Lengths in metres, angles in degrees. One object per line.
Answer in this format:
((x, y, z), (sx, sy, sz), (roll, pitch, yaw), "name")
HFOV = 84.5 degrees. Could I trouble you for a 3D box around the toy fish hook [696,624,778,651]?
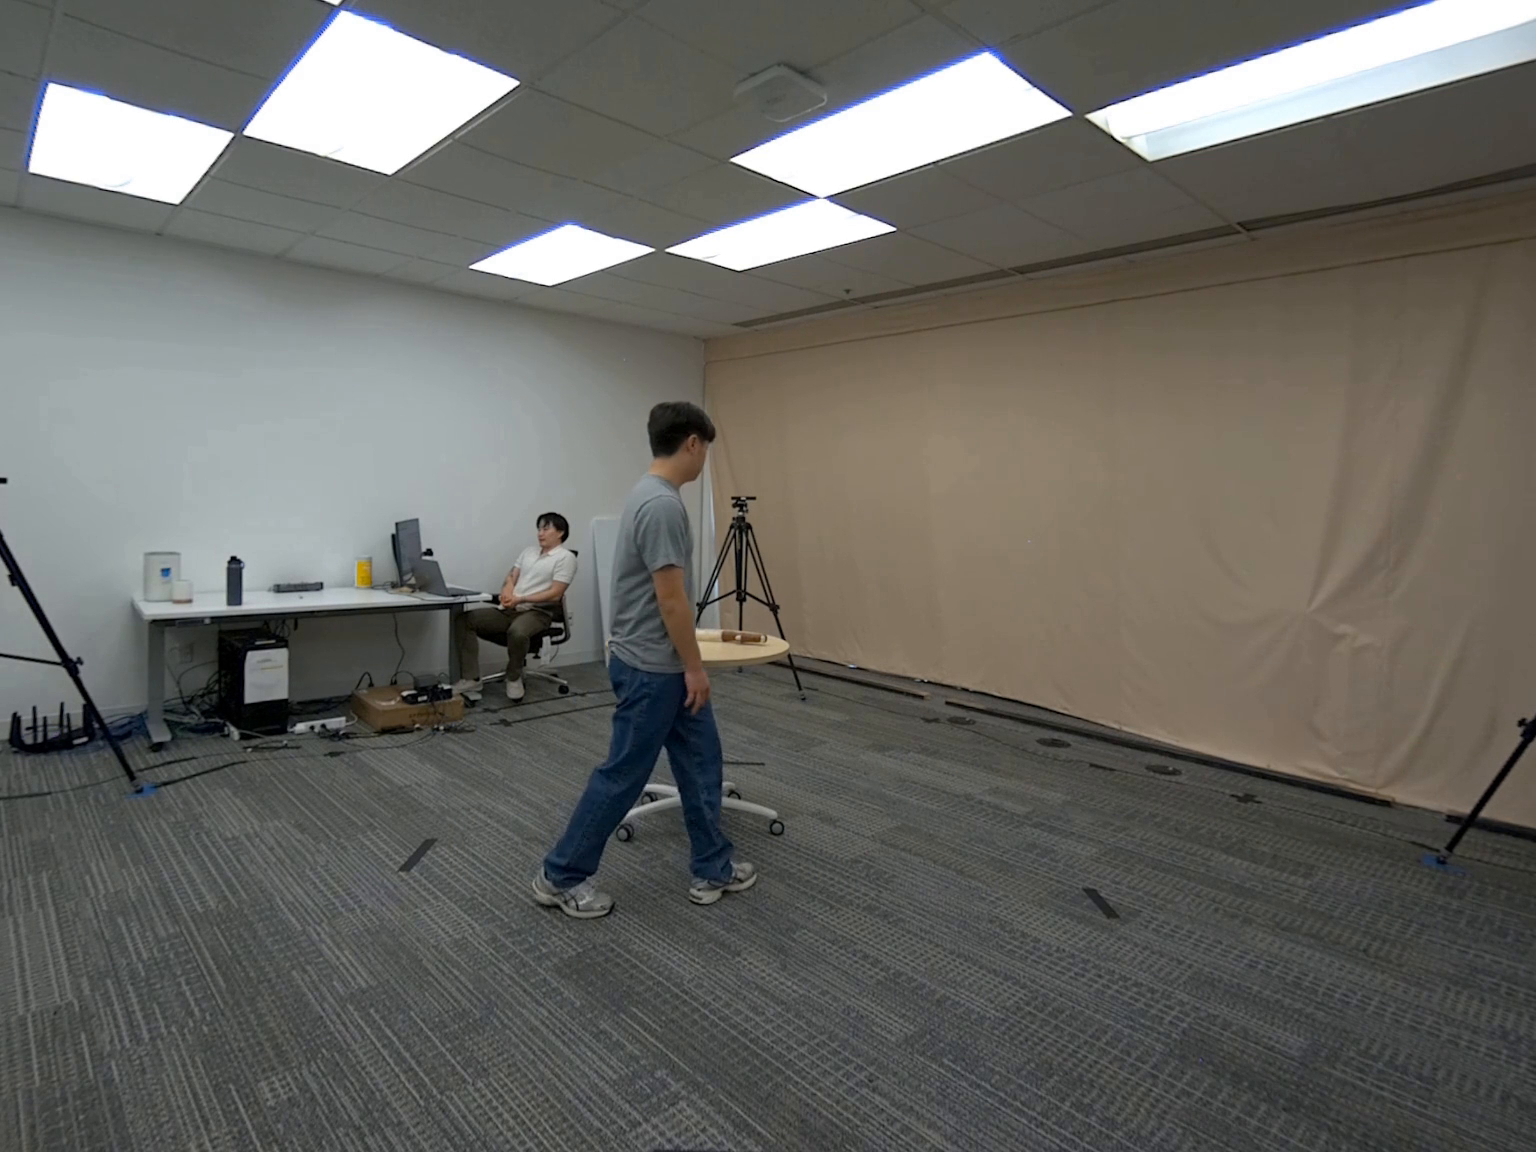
((-0.240, 0.255, 3.640), (0.515, 0.048, 0.221), (3, 6, 22), "toy fish hook")
